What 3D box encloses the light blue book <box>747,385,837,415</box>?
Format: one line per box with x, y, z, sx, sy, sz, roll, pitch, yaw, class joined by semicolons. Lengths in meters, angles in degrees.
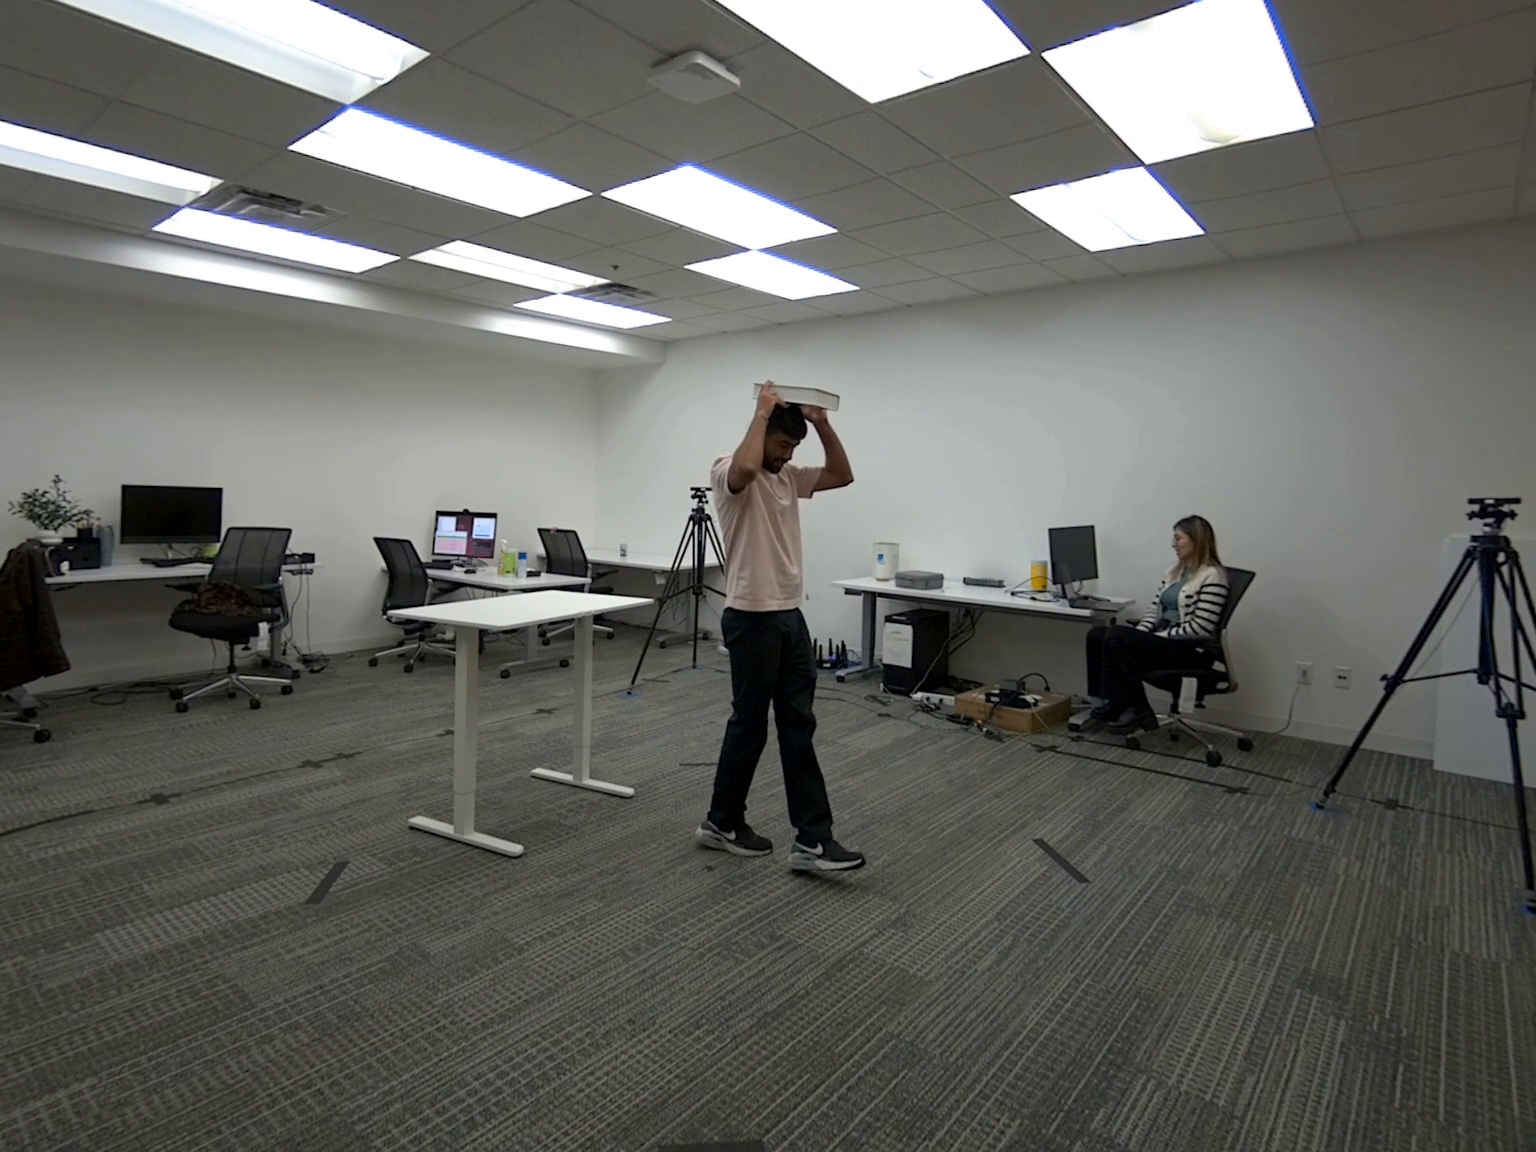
0.088;-0.648;3.082;0.270;0.059;0.186;13;8;30;light blue book
